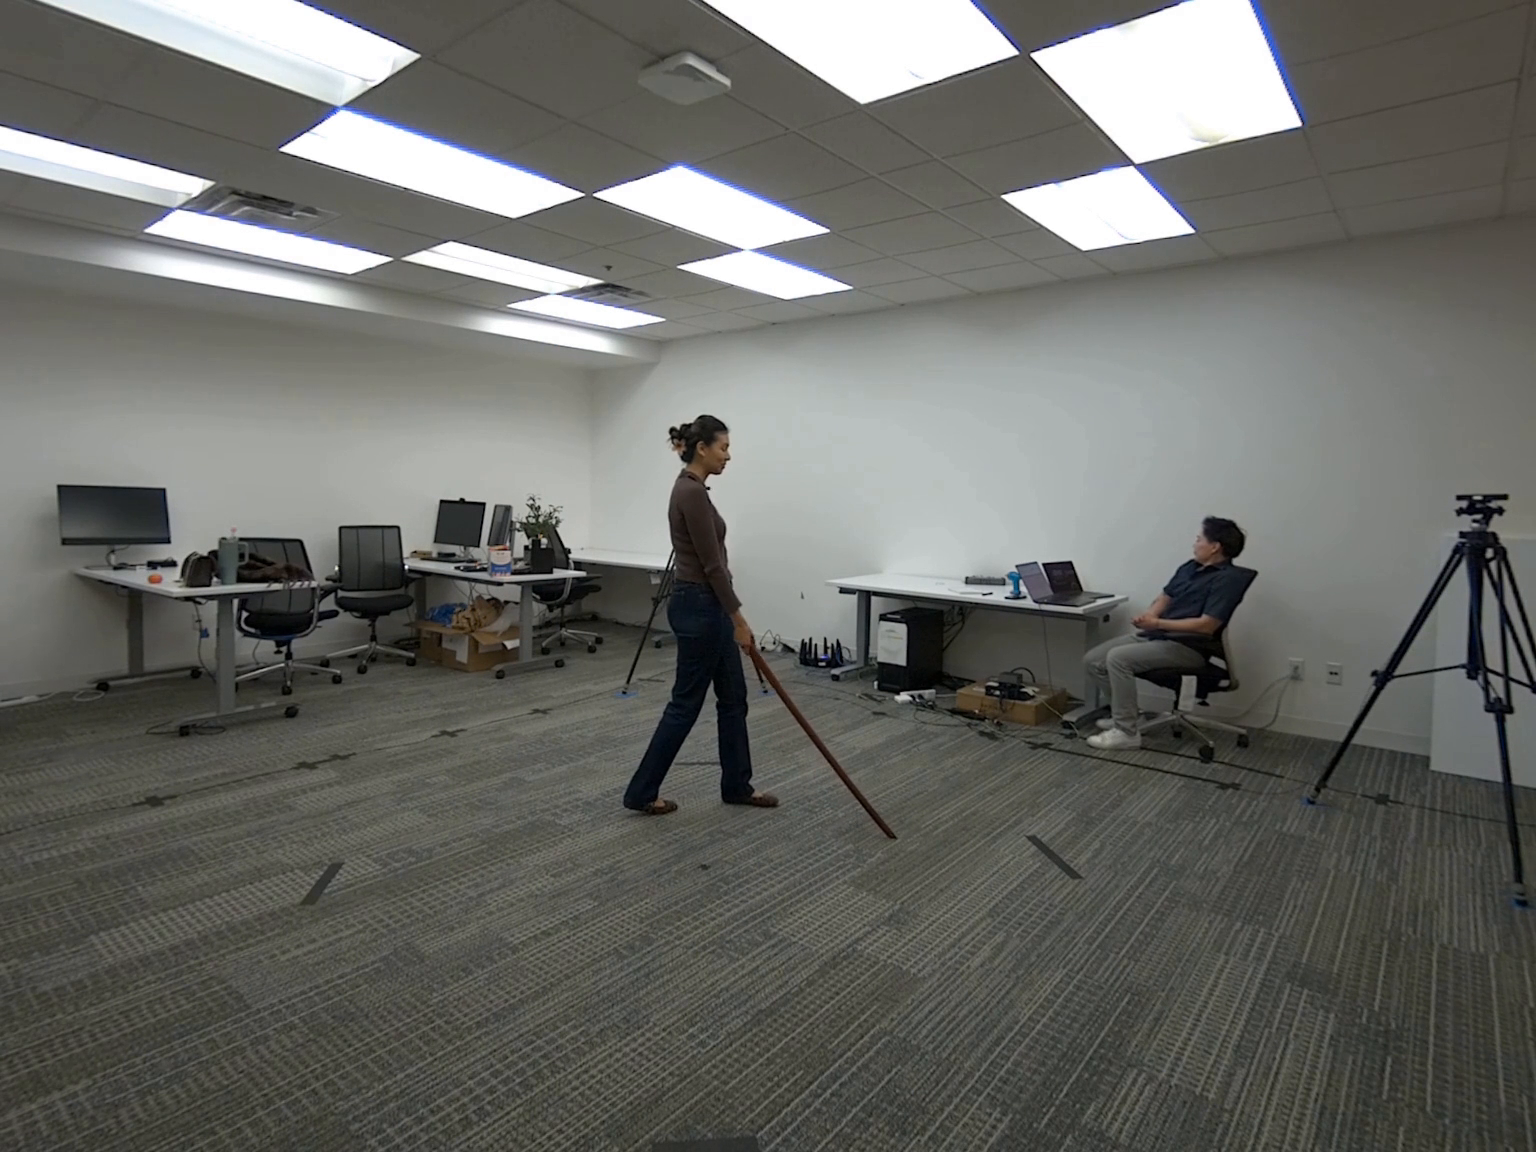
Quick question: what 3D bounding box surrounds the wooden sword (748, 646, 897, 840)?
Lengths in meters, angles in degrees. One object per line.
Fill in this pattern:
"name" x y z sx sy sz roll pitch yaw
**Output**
"wooden sword" 0.184 0.639 3.480 0.024 1.034 0.050 -40 -6 21
